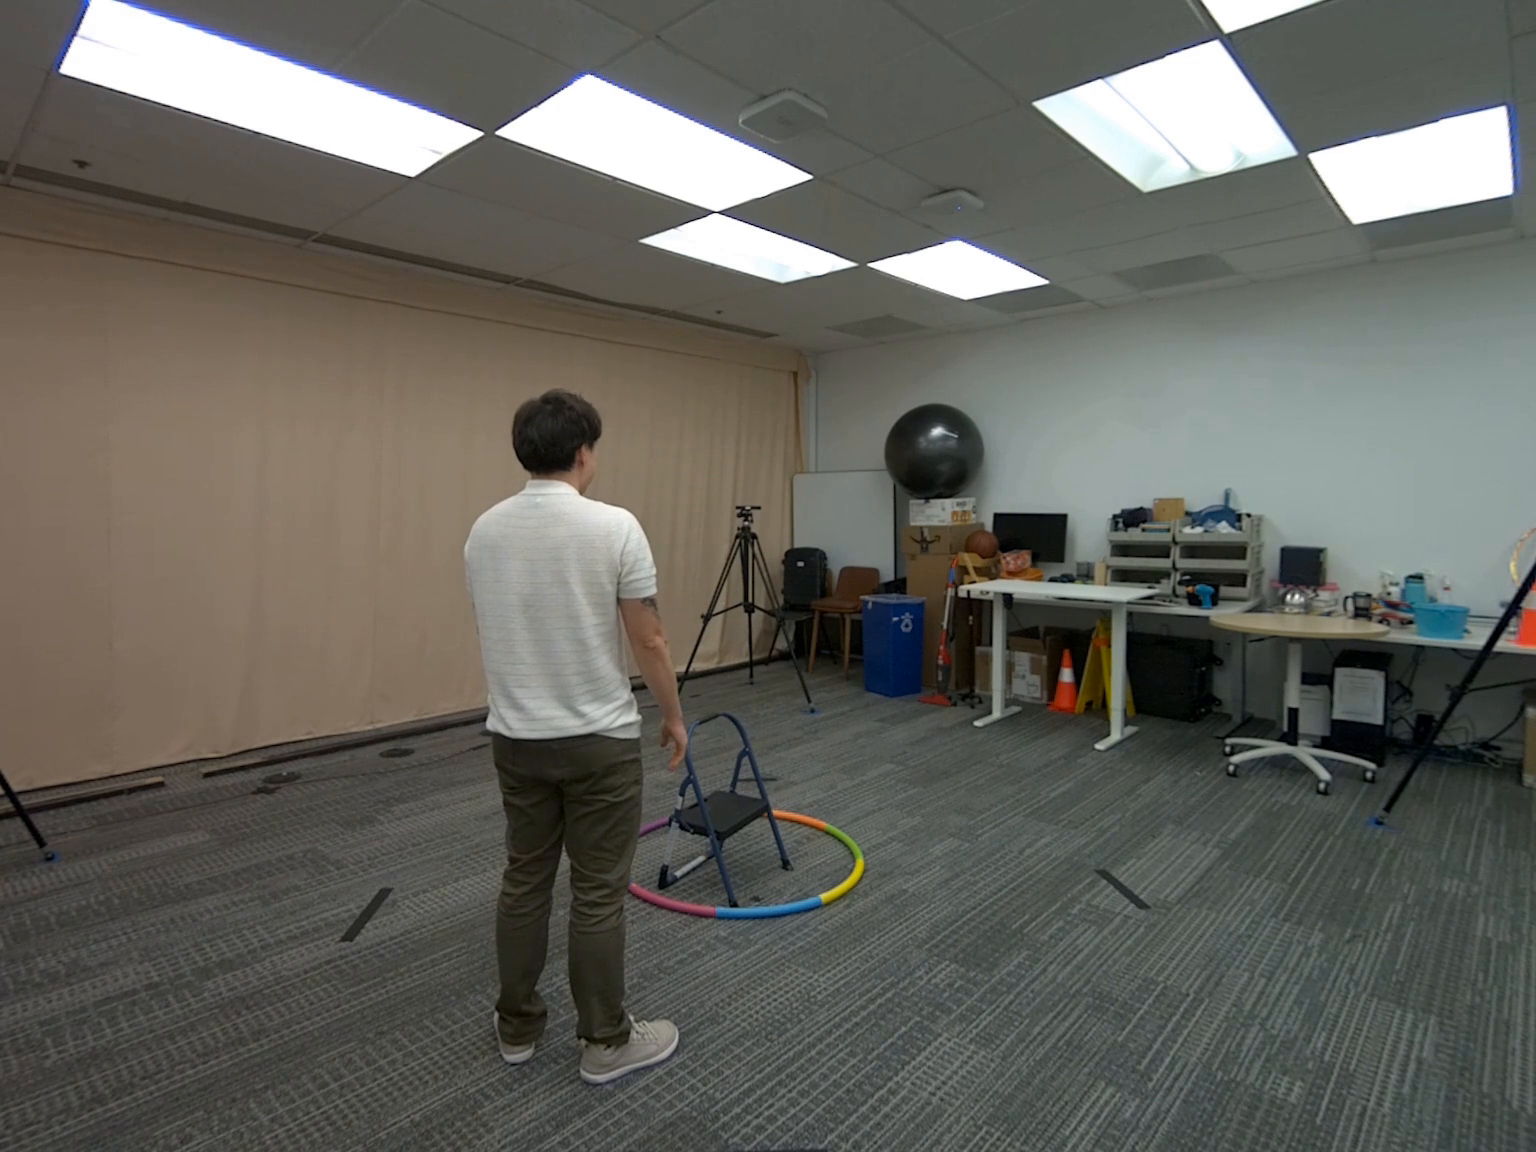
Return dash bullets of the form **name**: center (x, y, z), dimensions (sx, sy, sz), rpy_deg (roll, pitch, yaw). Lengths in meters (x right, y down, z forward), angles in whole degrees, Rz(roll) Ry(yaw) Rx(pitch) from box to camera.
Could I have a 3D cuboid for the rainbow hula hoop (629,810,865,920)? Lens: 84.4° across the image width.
- **rainbow hula hoop**: center (-0.119, 1.086, 3.318), dimensions (0.978, 0.035, 0.982), rpy_deg (-1, 5, -2)
